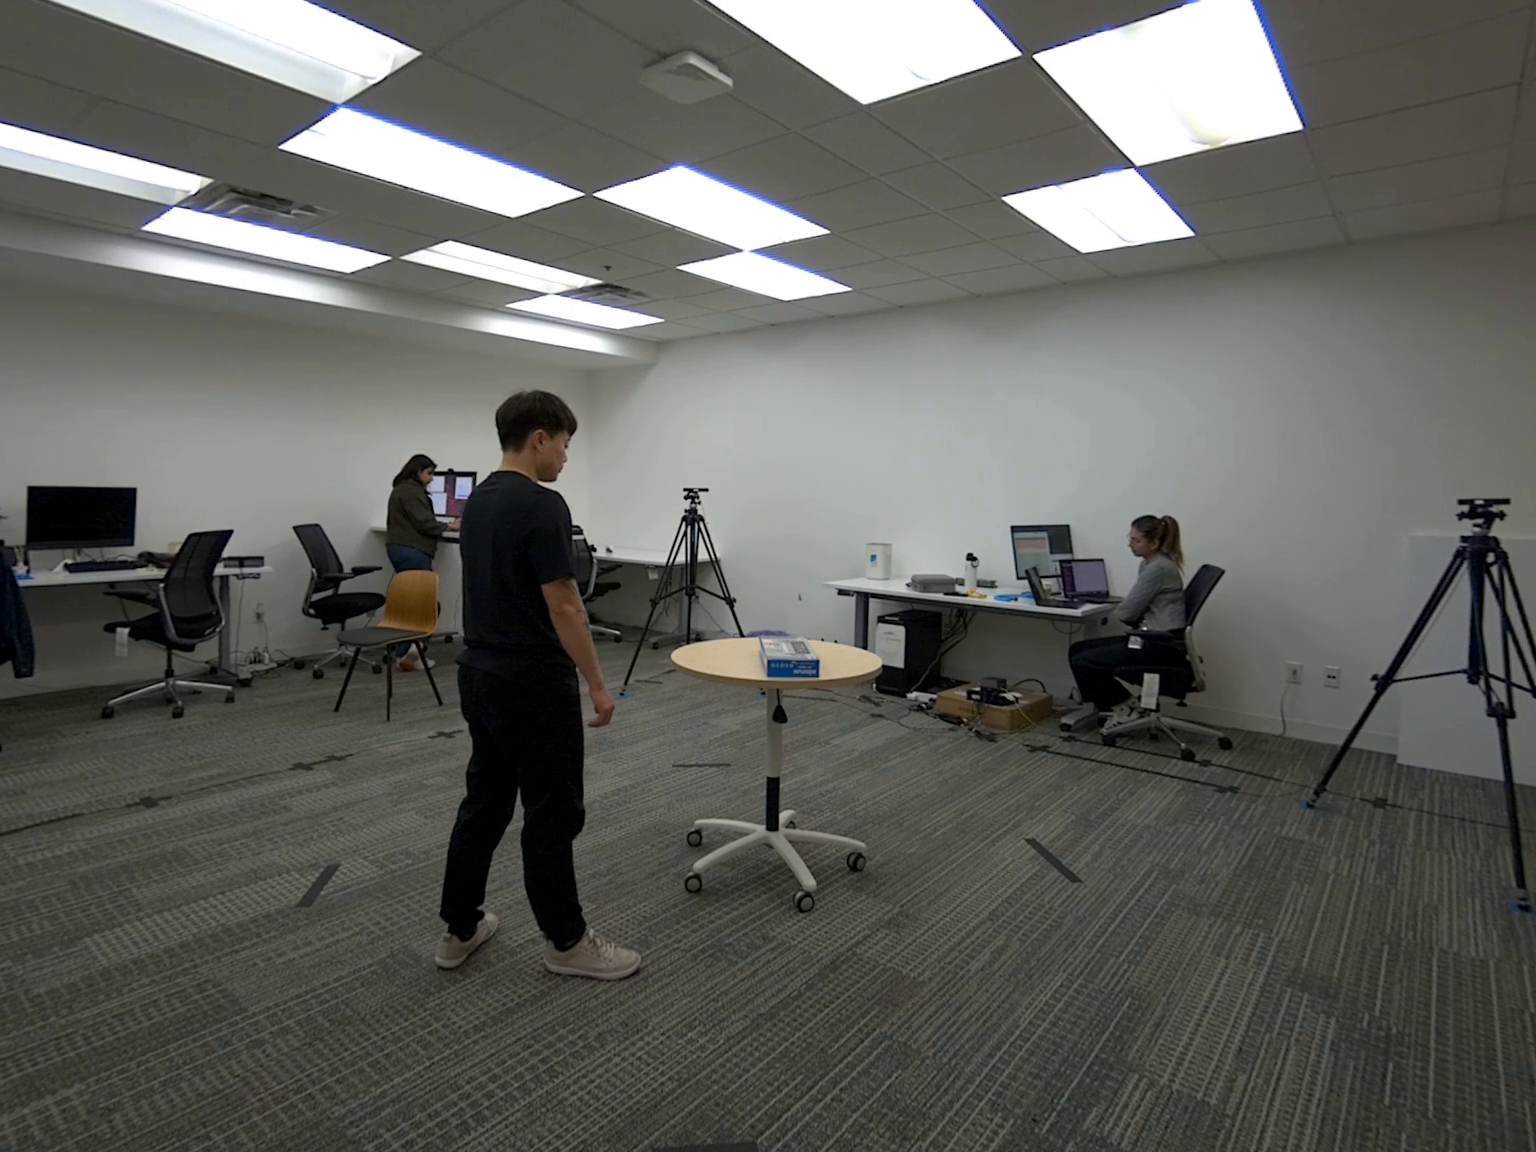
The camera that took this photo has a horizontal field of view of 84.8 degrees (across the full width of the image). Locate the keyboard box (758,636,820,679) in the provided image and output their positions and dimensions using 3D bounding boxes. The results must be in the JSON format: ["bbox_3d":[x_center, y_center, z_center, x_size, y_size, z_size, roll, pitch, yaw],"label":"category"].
[{"bbox_3d":[0.057,0.274,2.984,0.175,0.059,0.440,1,6,-4],"label":"keyboard box"}]
